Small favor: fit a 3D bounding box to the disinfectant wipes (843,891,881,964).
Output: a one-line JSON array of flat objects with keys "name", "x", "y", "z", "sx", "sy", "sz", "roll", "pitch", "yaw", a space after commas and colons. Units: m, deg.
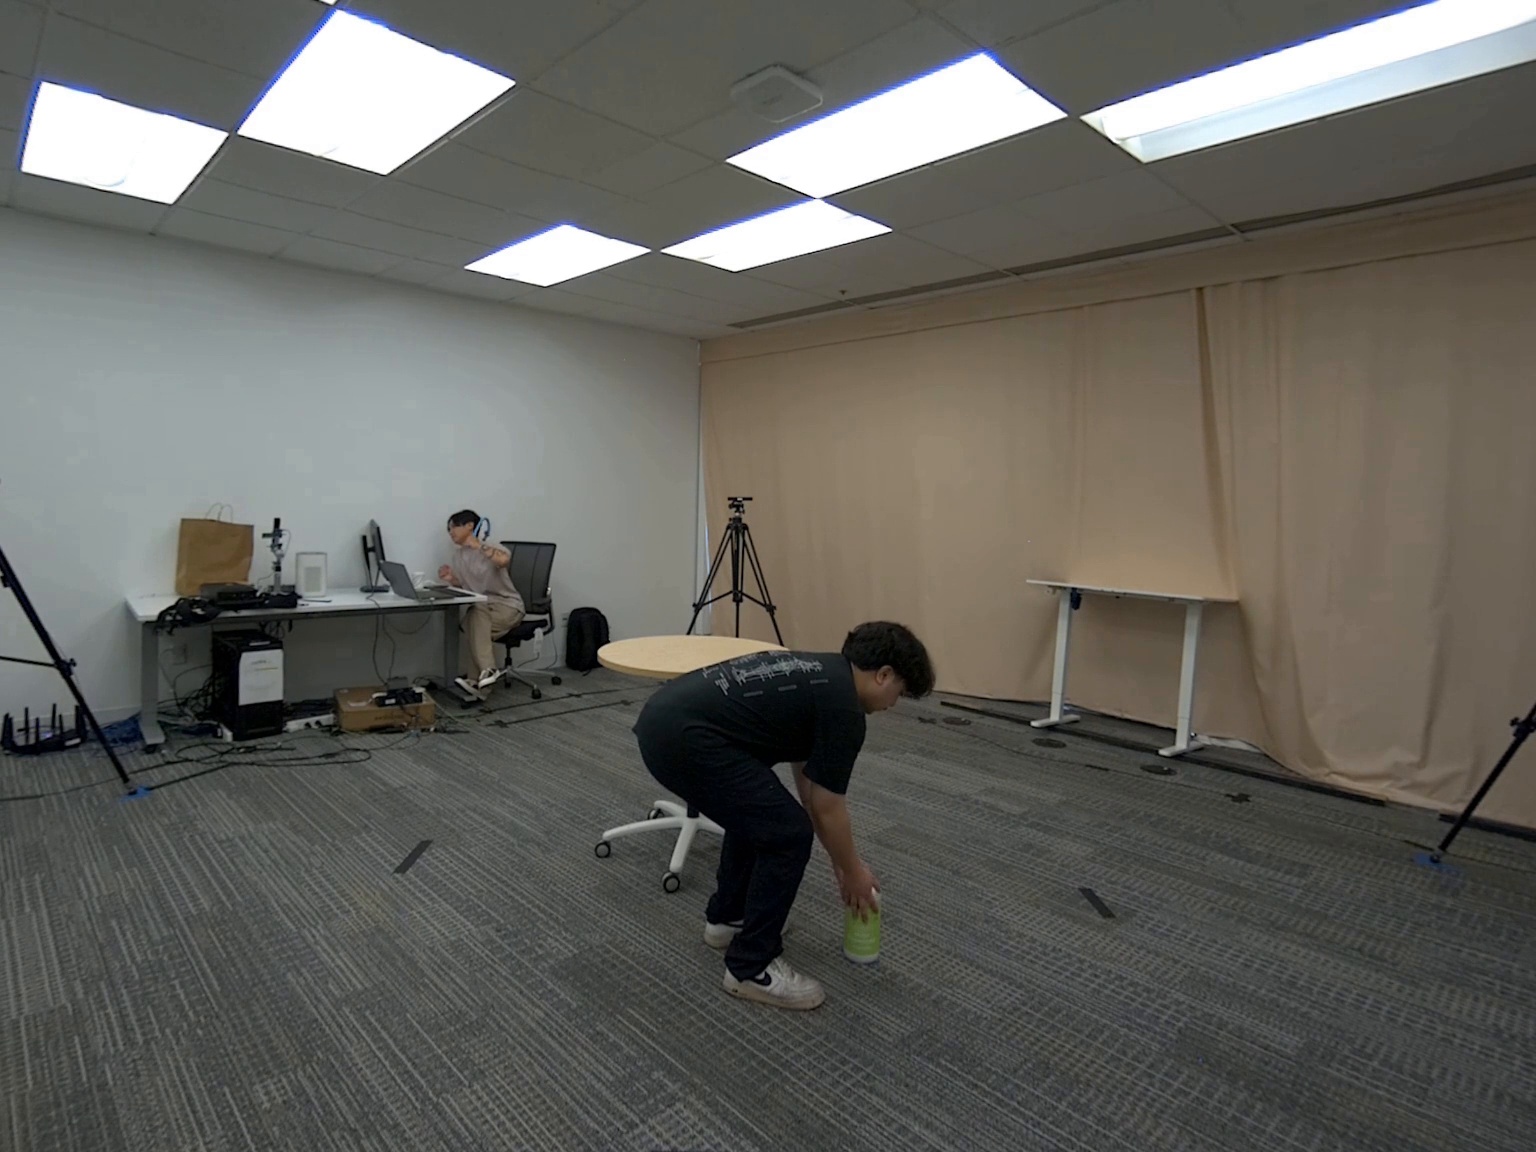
[{"name": "disinfectant wipes", "x": 0.285, "y": 1.048, "z": 2.588, "sx": 0.118, "sy": 0.216, "sz": 0.118, "roll": 2, "pitch": 6, "yaw": -2}]
